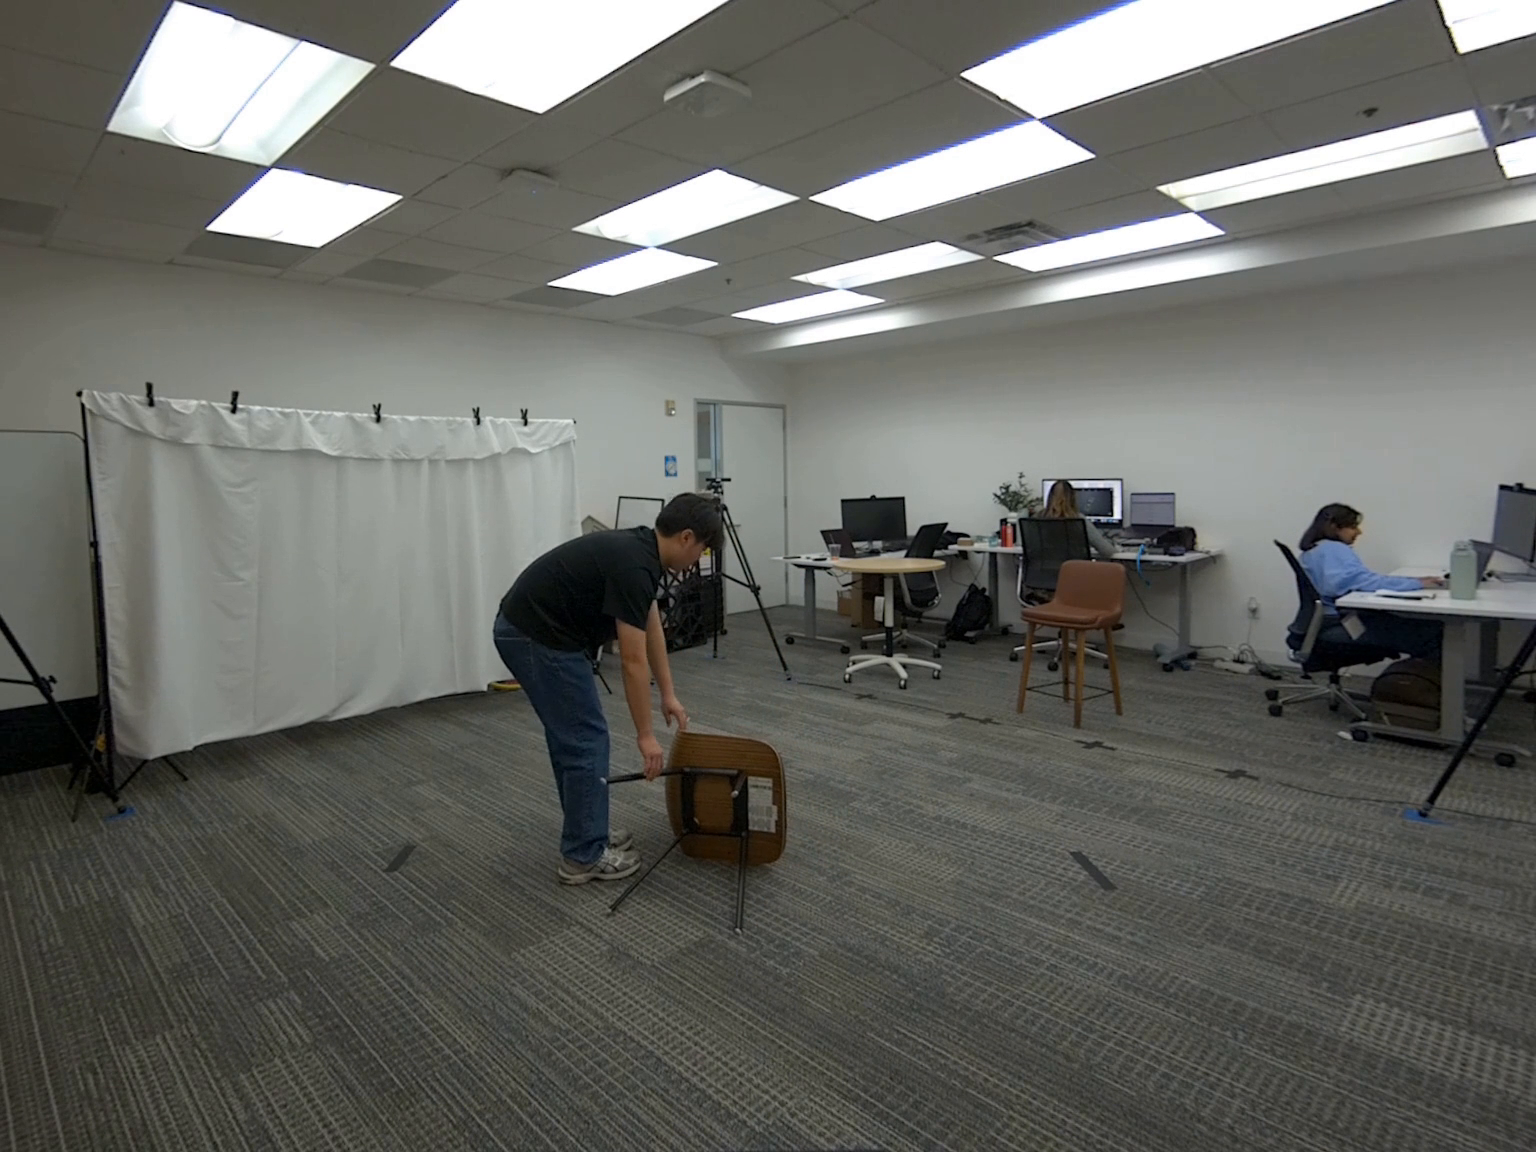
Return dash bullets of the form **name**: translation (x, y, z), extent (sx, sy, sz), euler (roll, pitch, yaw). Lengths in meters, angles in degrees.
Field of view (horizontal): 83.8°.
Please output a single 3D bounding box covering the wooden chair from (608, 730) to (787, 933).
- **wooden chair**: translation (-0.192, 0.813, 3.071), extent (0.530, 0.476, 0.870), euler (0, 6, 12)
